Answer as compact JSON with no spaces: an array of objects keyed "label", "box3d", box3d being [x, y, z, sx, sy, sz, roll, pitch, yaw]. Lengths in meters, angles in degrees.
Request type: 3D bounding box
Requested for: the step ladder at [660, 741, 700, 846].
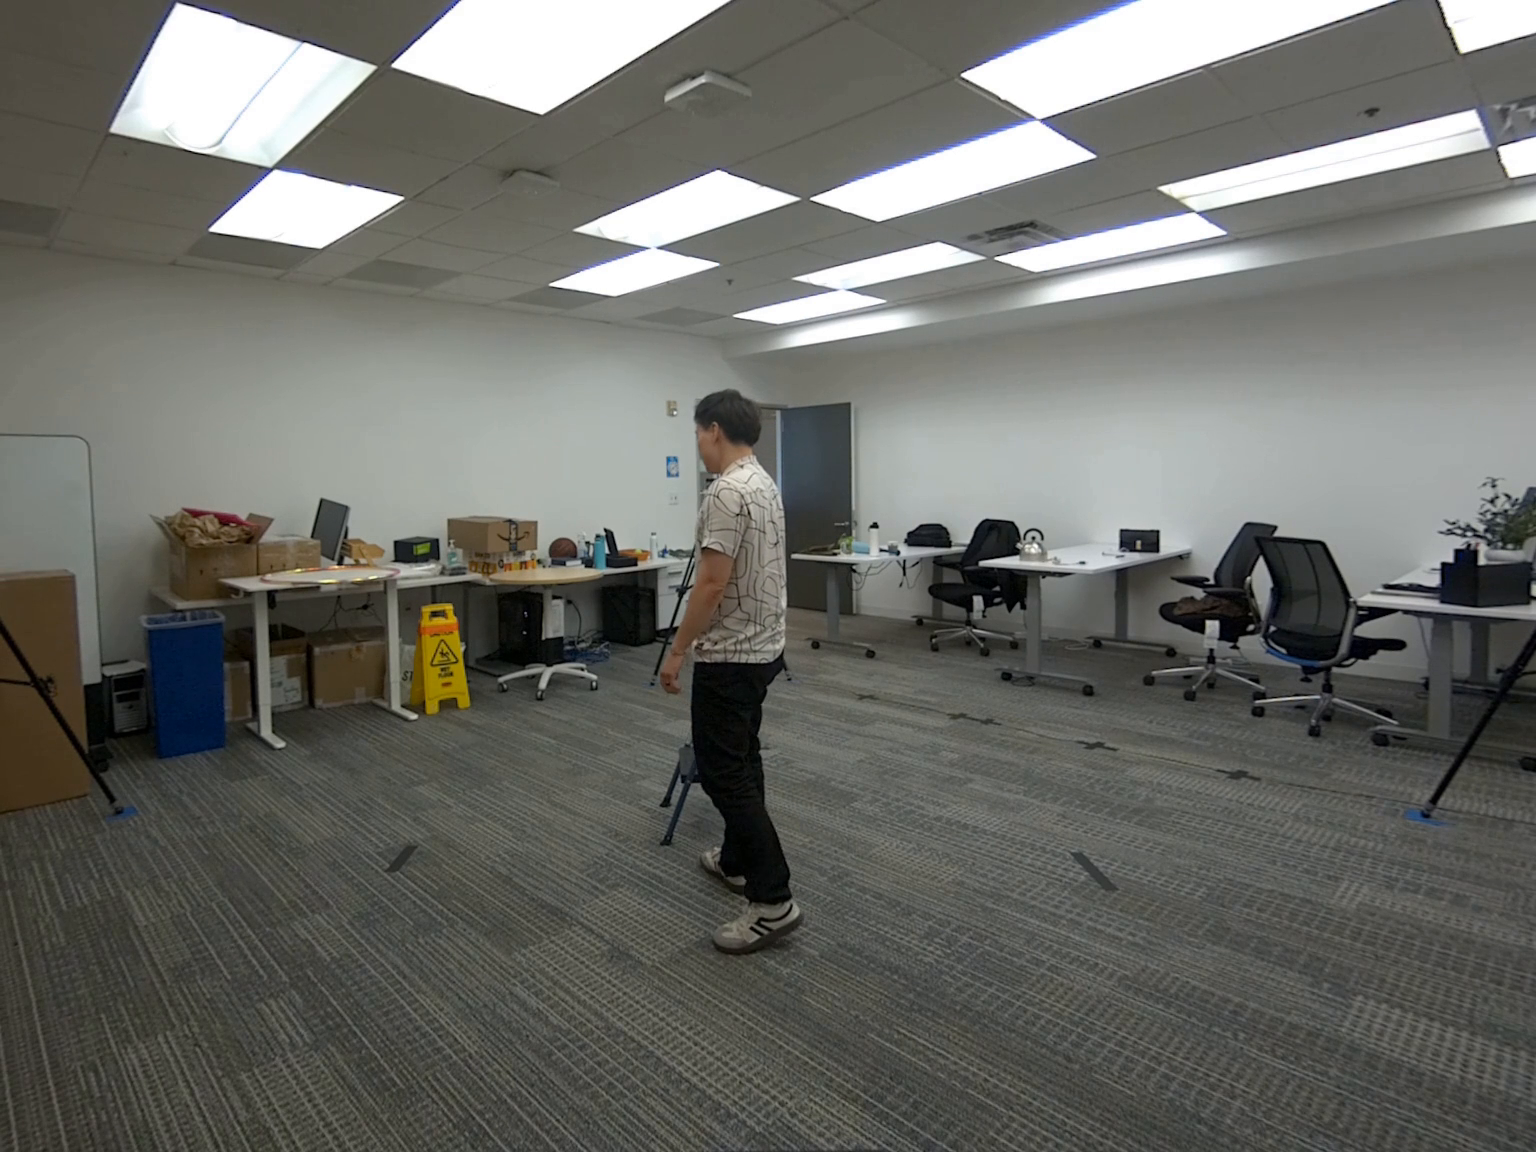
[{"label":"step ladder","box3d":[-0.261,0.708,3.470,0.347,0.604,0.435,-2,5,-6]}]
